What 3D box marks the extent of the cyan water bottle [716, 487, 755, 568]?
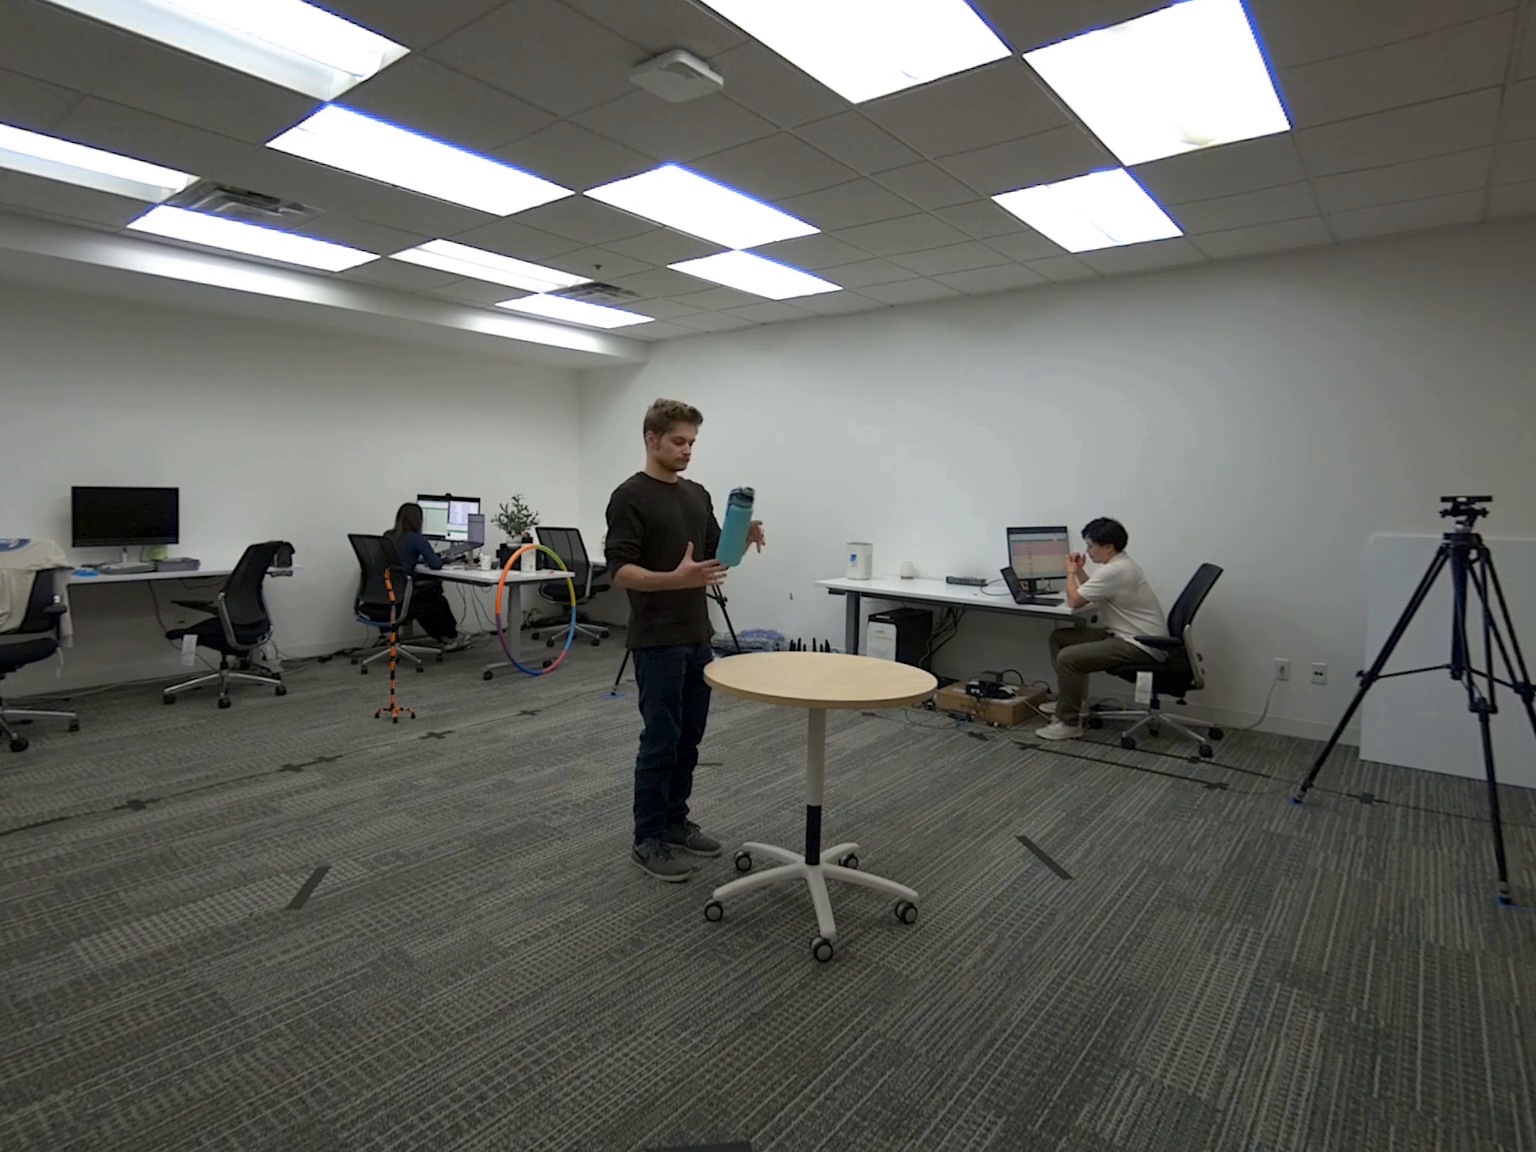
[{"bbox_3d":[-0.122,-0.140,2.921,0.091,0.279,0.095,11,29,-8],"label":"cyan water bottle"}]
